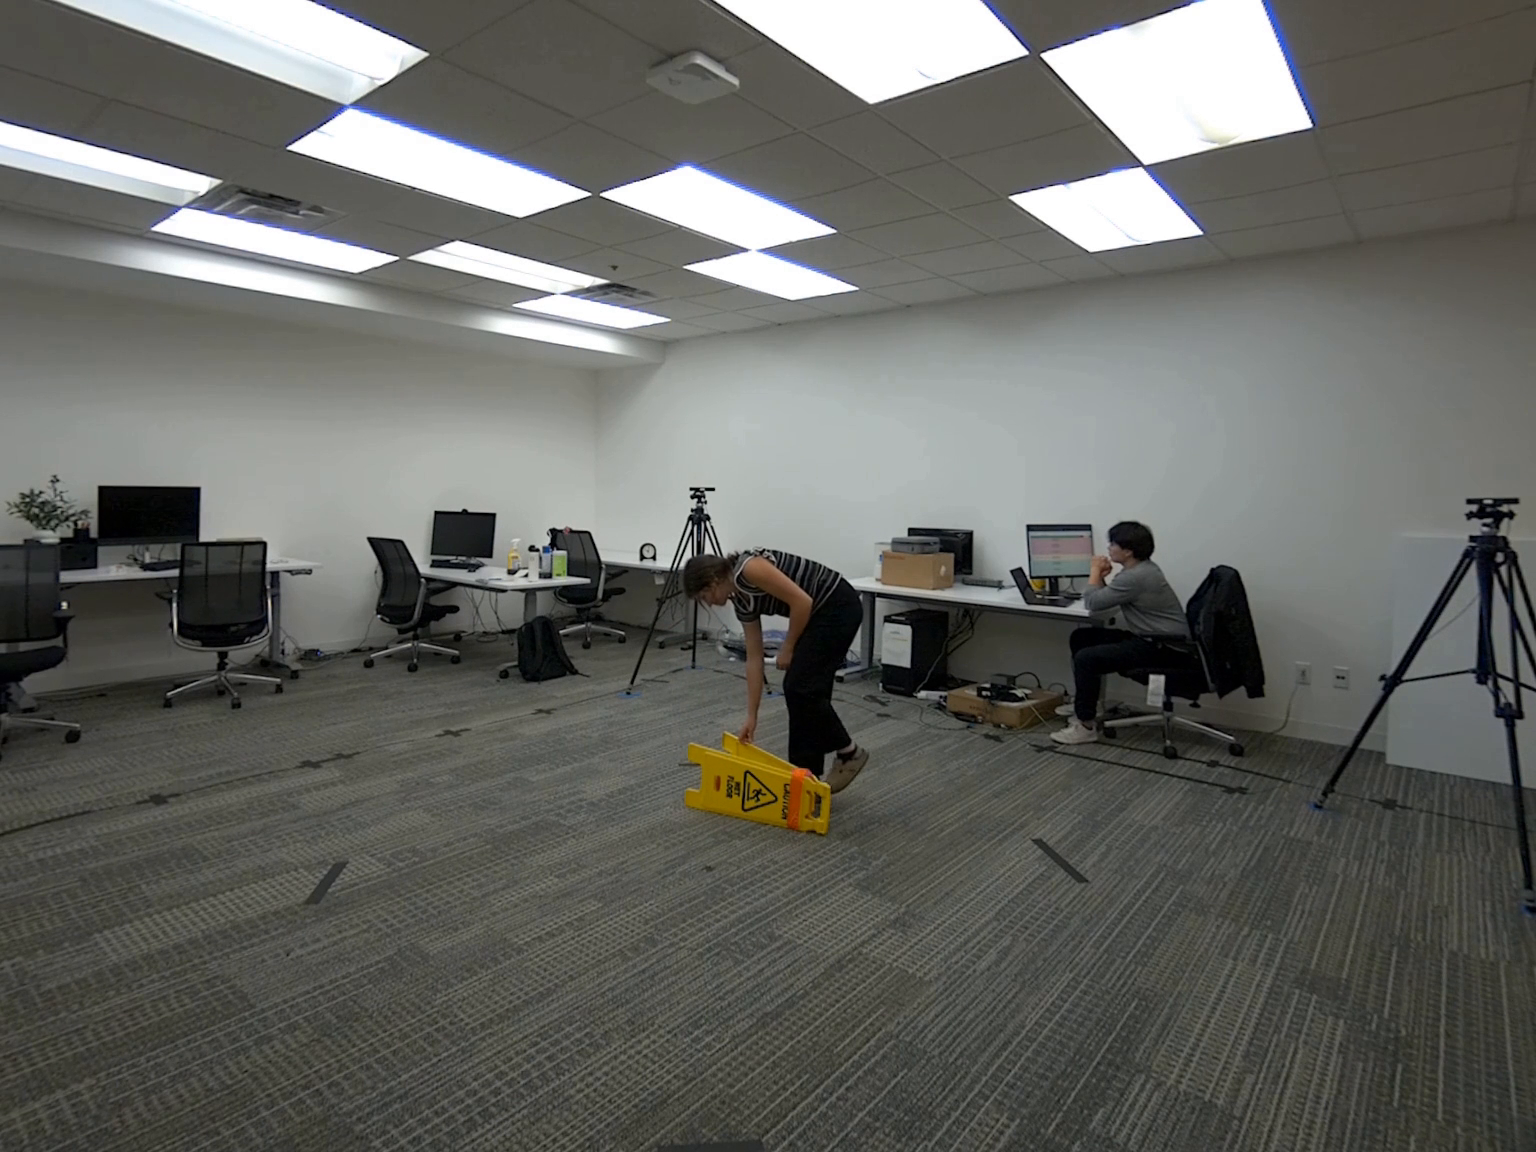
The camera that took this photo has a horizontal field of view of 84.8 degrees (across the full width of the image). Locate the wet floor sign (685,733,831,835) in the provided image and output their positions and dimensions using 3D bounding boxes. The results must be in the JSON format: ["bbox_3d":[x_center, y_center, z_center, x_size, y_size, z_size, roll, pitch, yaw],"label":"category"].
[{"bbox_3d":[-0.028,0.895,3.621,0.668,0.281,0.281,8,7,36],"label":"wet floor sign"}]
